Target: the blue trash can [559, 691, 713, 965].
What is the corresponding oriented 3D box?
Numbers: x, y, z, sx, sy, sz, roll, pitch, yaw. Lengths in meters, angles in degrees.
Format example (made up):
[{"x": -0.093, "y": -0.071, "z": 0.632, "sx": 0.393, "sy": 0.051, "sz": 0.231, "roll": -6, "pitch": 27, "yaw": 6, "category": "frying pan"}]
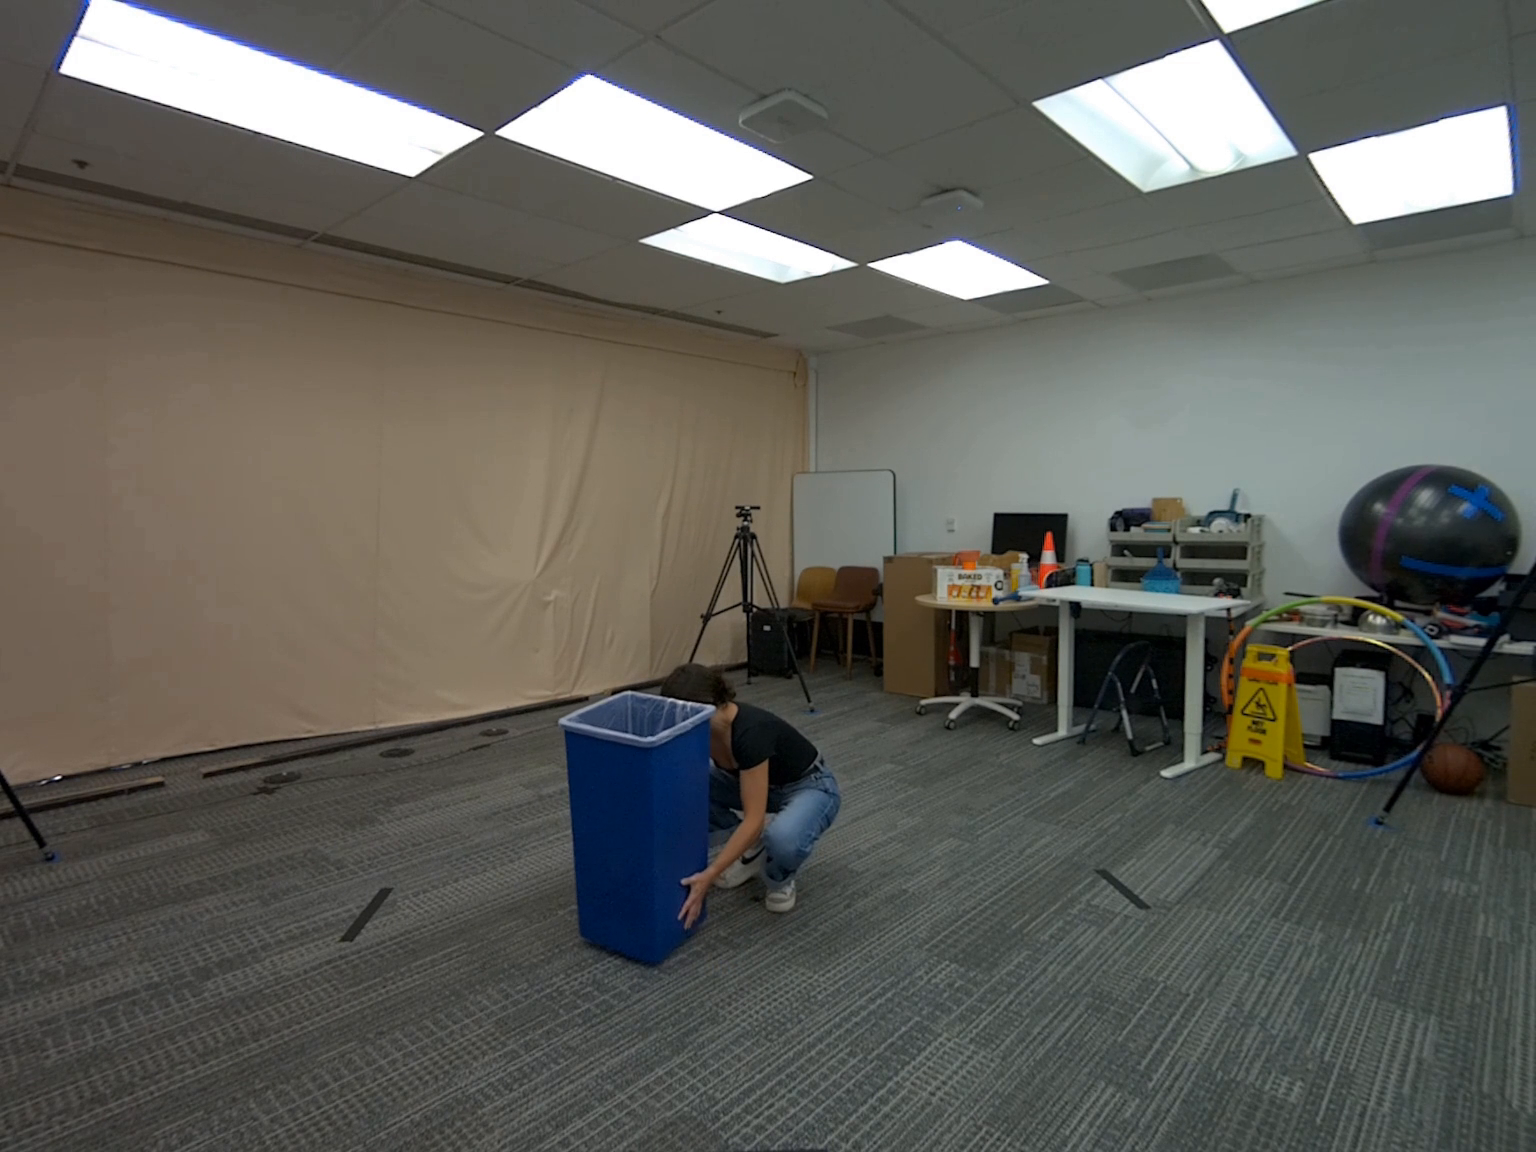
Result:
[{"x": -0.404, "y": 0.782, "z": 2.659, "sx": 0.389, "sy": 0.711, "sz": 0.365, "roll": 3, "pitch": 7, "yaw": 29, "category": "blue trash can"}]
